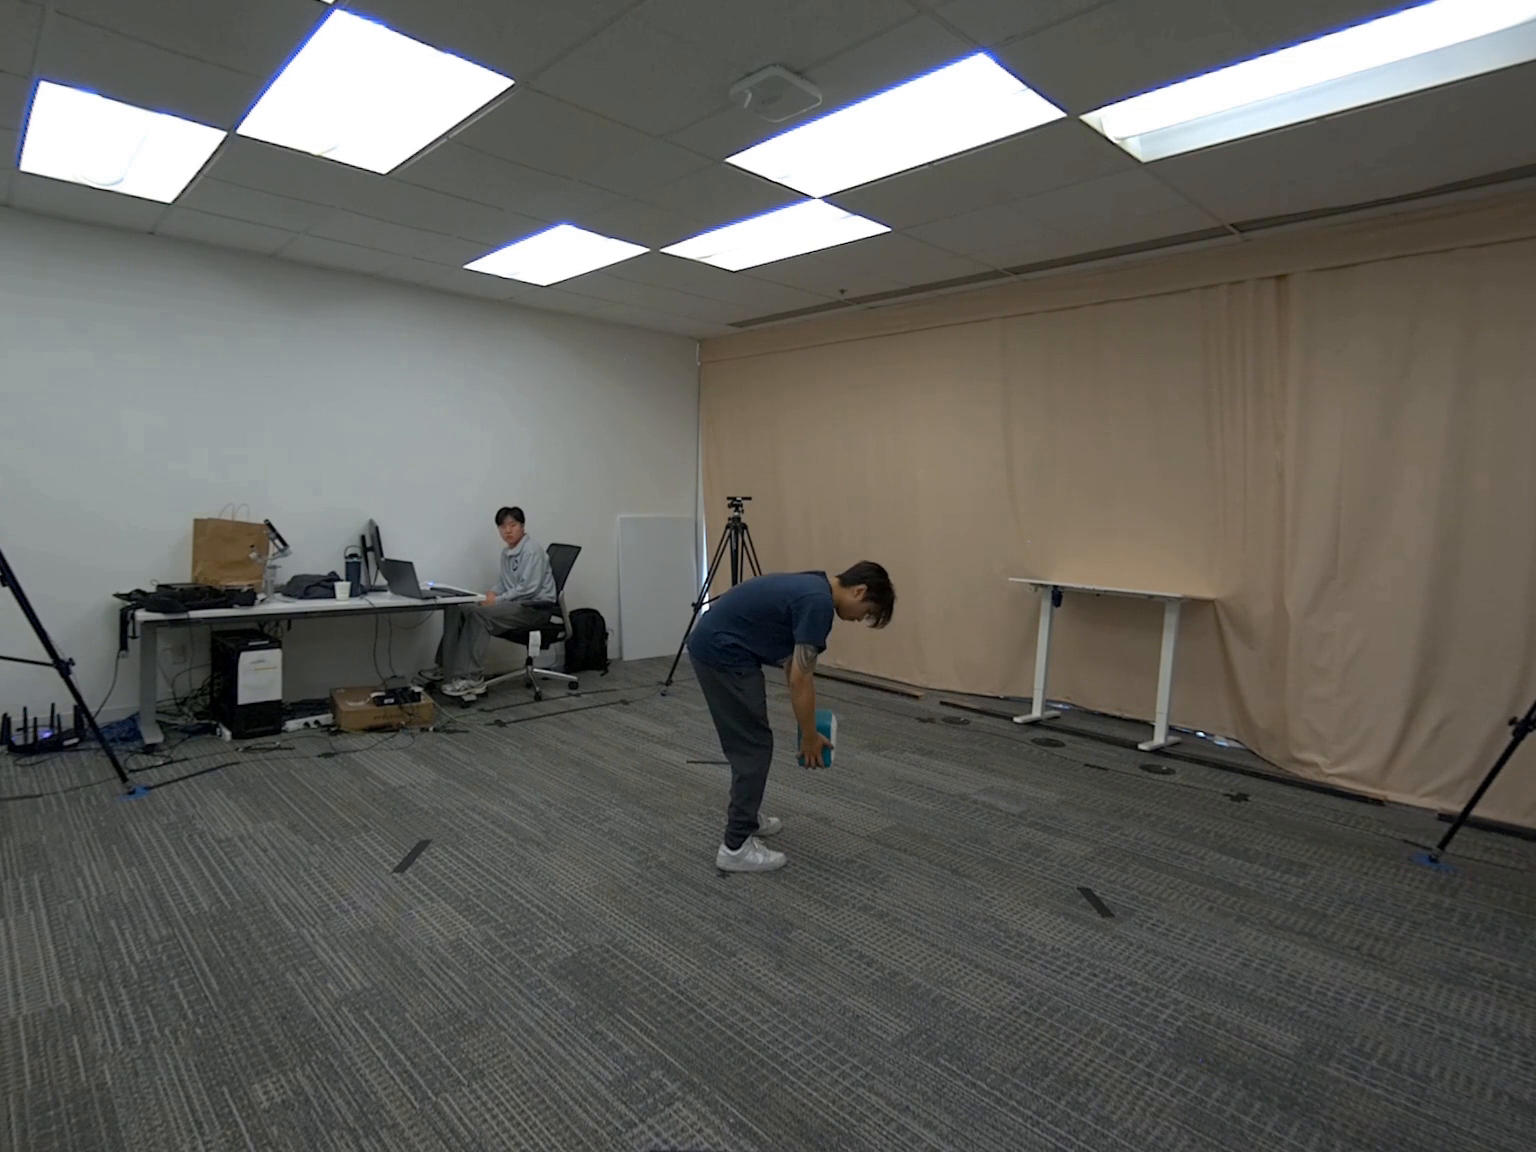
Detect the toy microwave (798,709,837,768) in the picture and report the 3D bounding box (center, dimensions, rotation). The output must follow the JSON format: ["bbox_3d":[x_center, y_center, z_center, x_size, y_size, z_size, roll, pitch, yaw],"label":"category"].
[{"bbox_3d":[0.194,0.651,3.406,0.153,0.184,0.284,-1,1,7],"label":"toy microwave"}]
